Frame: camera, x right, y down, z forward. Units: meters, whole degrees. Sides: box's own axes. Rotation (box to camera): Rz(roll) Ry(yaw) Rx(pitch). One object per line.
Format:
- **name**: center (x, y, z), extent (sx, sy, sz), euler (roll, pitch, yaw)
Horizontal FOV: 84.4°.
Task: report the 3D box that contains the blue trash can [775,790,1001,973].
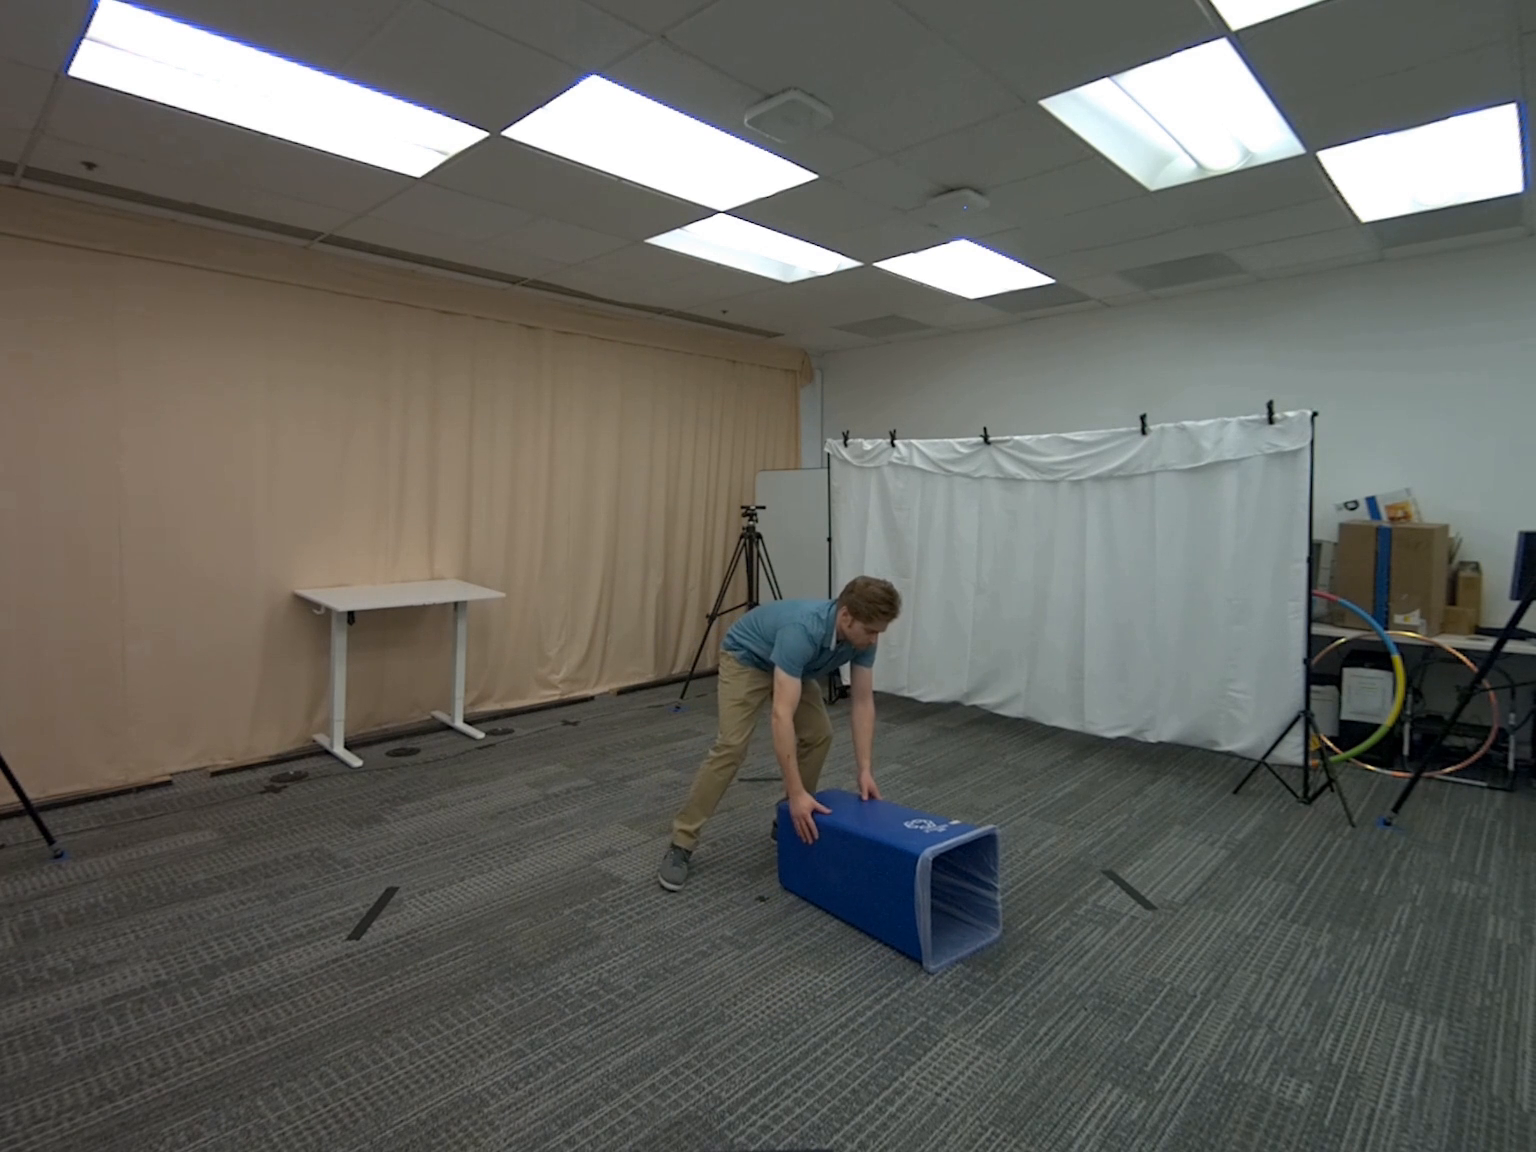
- **blue trash can**: center (0.383, 0.987, 2.867), extent (0.363, 0.378, 0.736), euler (-3, 2, -40)
